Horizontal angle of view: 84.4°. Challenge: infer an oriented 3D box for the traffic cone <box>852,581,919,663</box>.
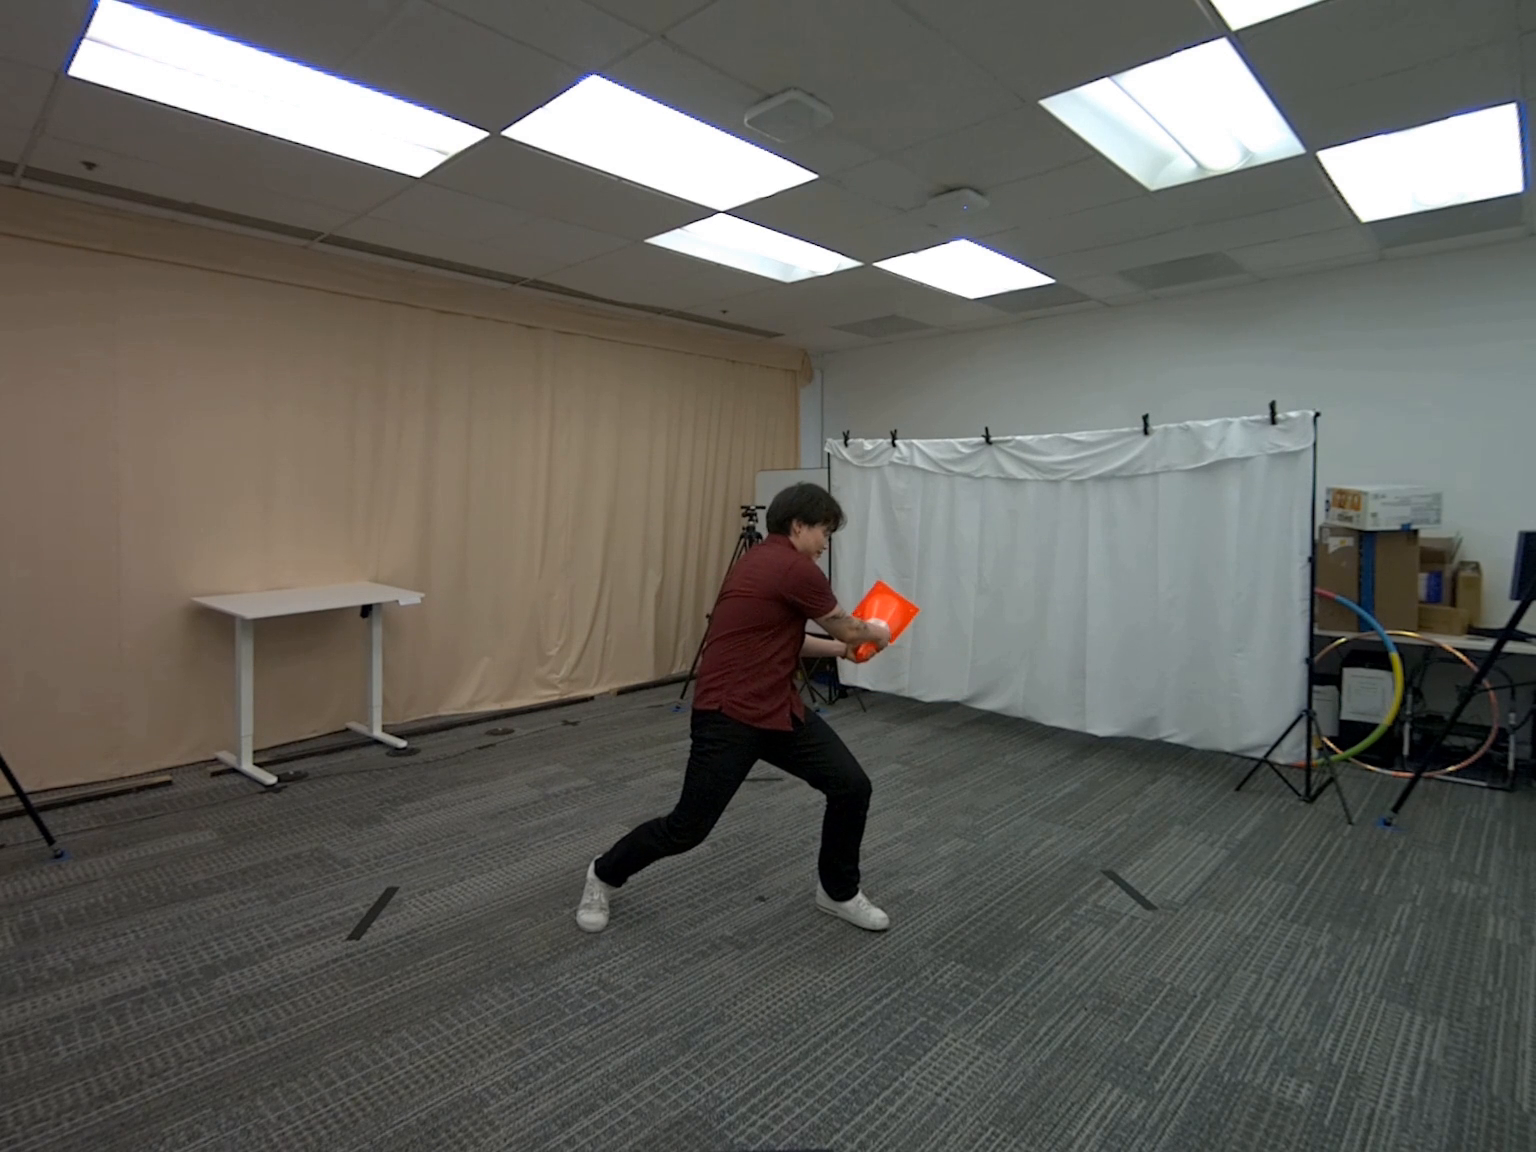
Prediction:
[{"bbox_3d":[0.400,0.219,3.136,0.207,0.203,0.380,34,31,6],"label":"traffic cone"}]
